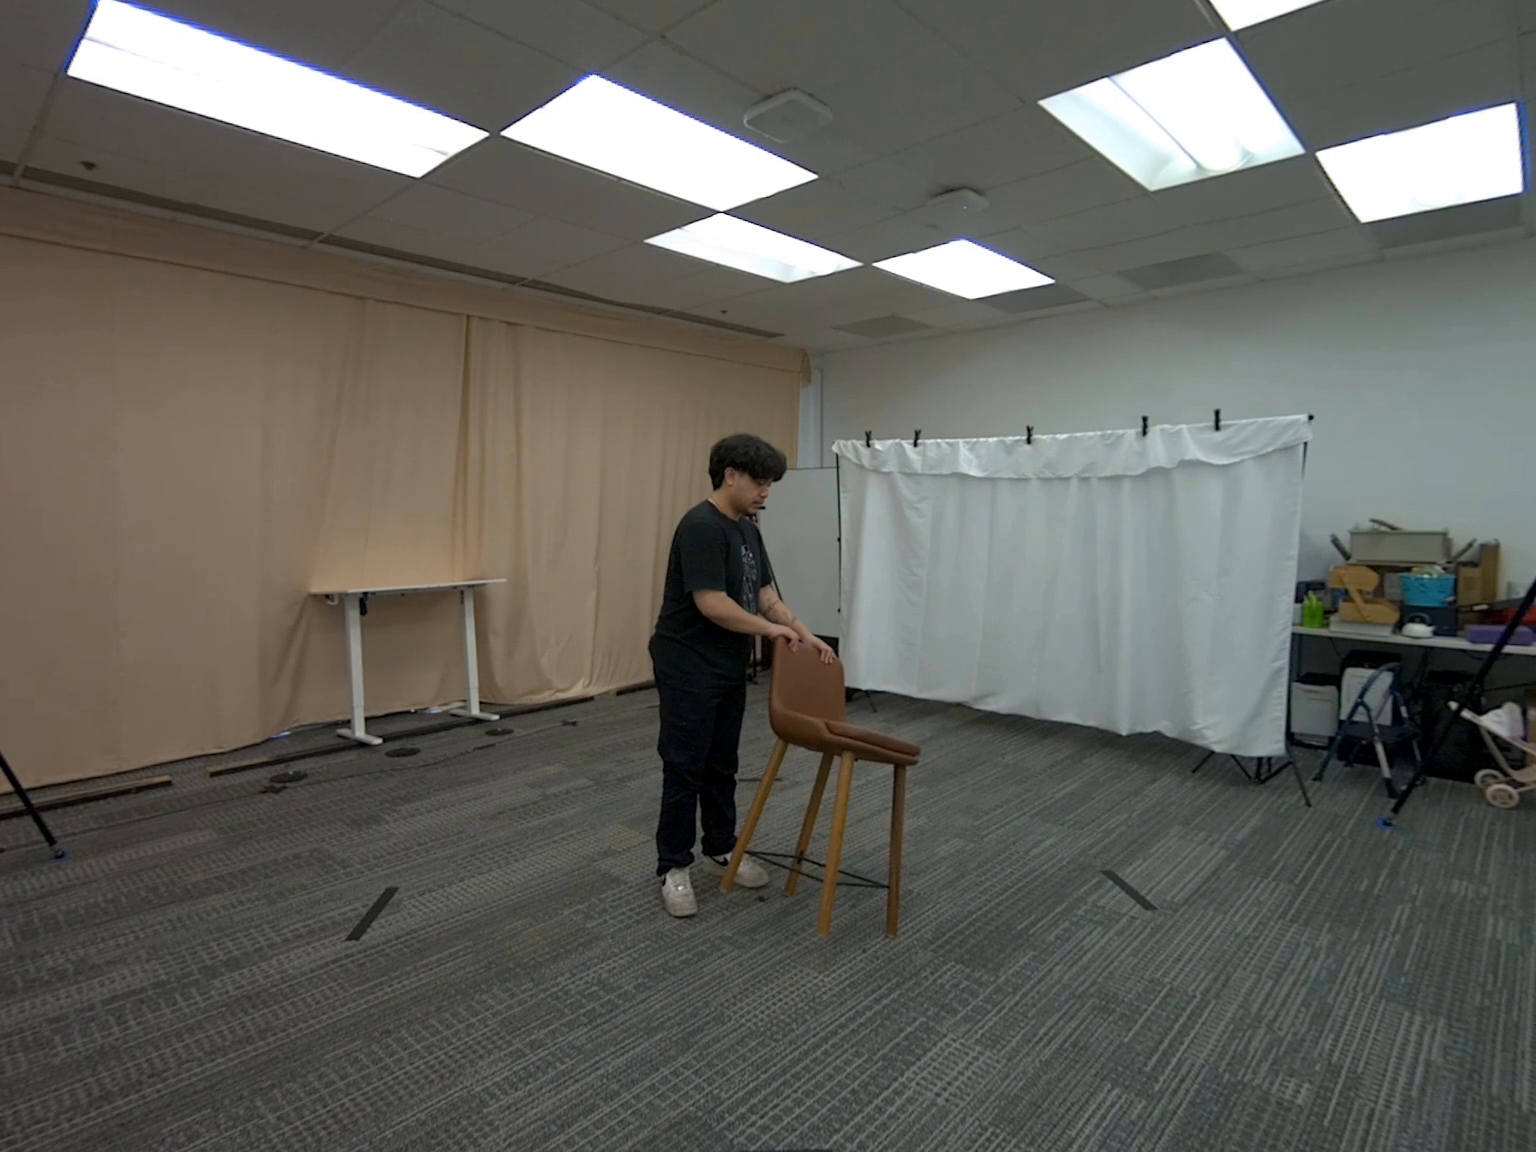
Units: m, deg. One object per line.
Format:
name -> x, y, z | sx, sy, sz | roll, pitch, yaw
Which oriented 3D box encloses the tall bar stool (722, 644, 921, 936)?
tall bar stool -> 0.221, 0.683, 2.838 | 0.482, 0.894, 0.440 | -2, -18, 43
